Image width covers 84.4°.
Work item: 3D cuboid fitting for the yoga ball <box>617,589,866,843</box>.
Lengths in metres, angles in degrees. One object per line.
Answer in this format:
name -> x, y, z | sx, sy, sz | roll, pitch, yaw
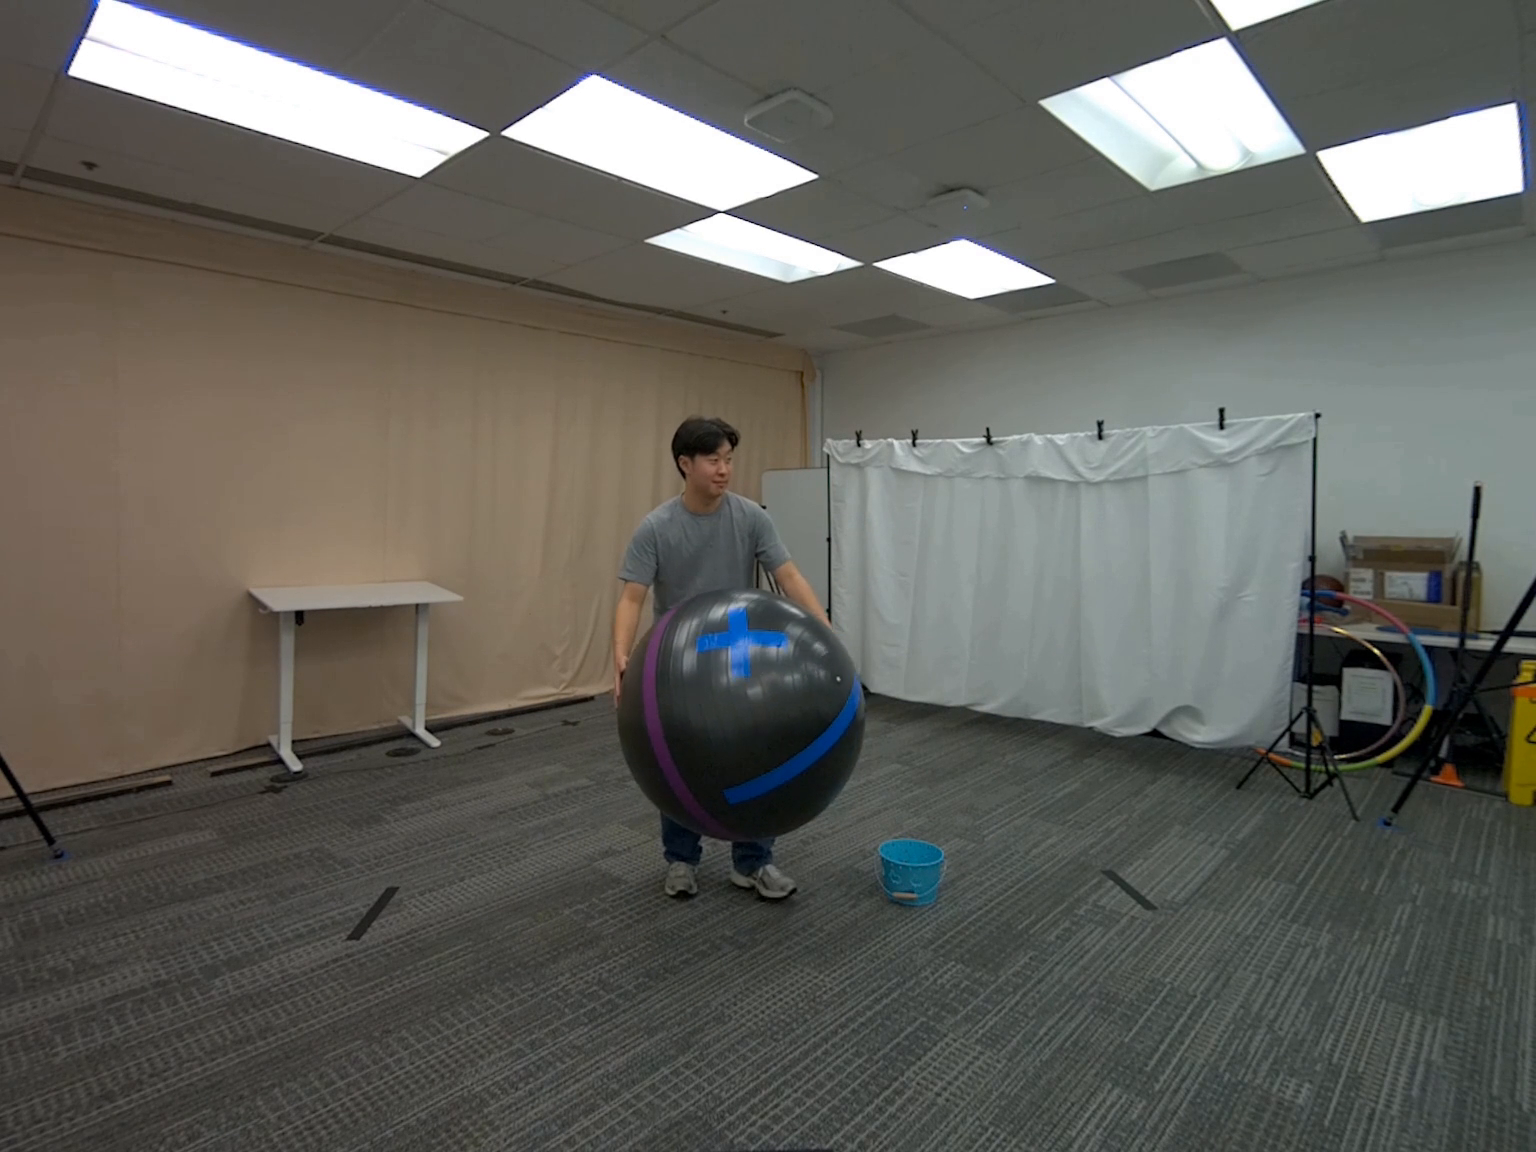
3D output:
yoga ball -> -0.067, 0.424, 2.593 | 0.757, 0.756, 0.761 | 0, 4, -2
